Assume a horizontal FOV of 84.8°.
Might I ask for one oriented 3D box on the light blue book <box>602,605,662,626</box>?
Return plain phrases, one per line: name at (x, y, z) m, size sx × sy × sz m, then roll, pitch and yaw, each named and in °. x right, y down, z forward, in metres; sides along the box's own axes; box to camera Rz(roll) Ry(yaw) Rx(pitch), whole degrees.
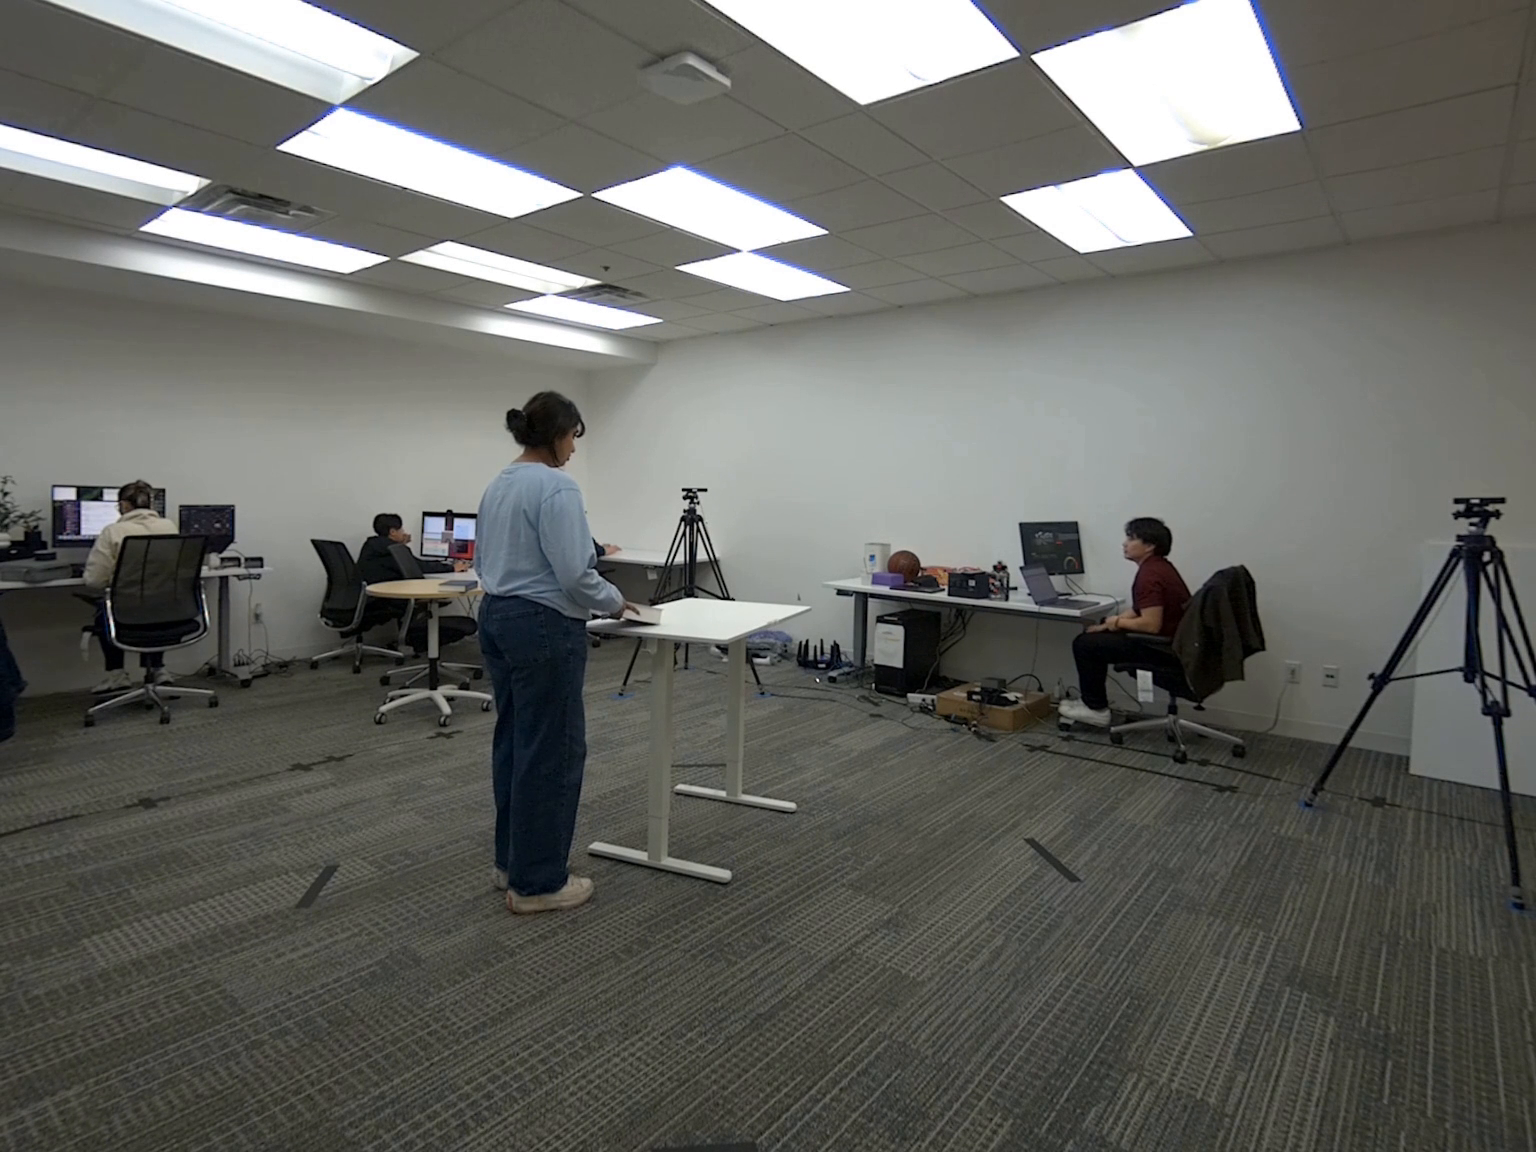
light blue book at (-0.541, 0.126, 3.118) m, size 0.198 × 0.059 × 0.251 m, roll 4°, pitch -6°, yaw 42°
